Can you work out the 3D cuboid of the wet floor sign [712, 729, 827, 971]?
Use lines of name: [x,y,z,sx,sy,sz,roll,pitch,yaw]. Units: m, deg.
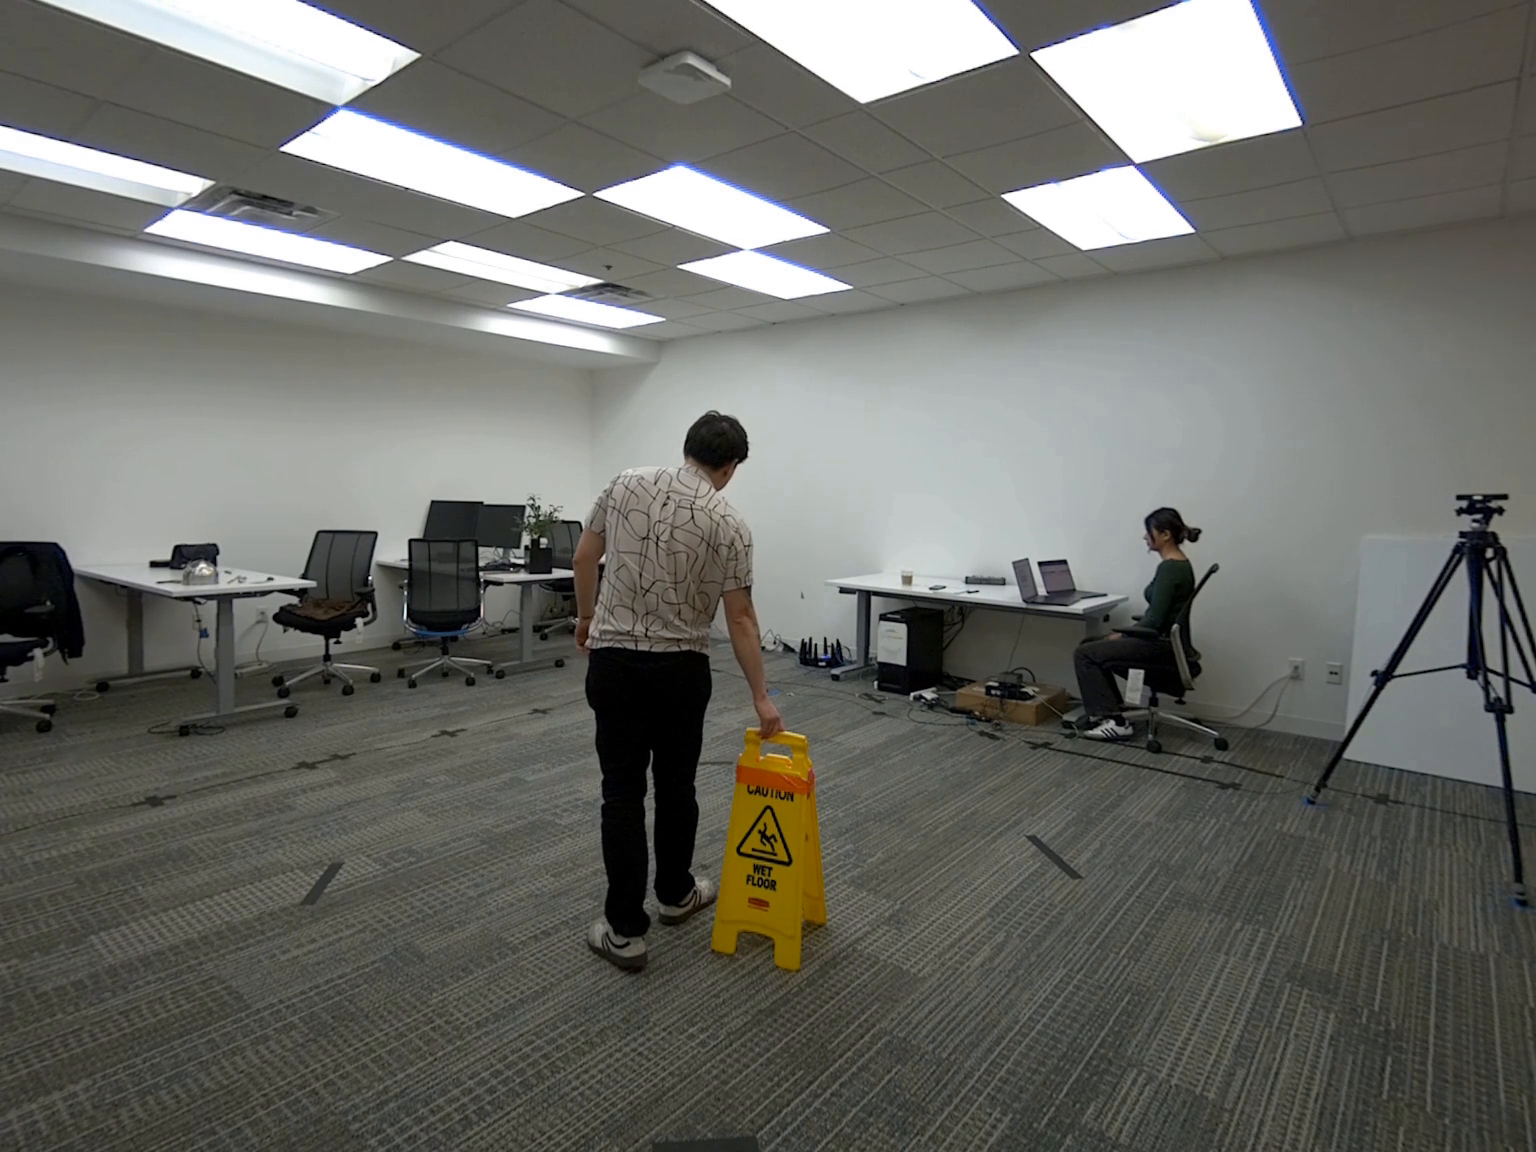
wet floor sign: [0.011,0.797,2.621,0.289,0.645,0.284,3,3,21]
